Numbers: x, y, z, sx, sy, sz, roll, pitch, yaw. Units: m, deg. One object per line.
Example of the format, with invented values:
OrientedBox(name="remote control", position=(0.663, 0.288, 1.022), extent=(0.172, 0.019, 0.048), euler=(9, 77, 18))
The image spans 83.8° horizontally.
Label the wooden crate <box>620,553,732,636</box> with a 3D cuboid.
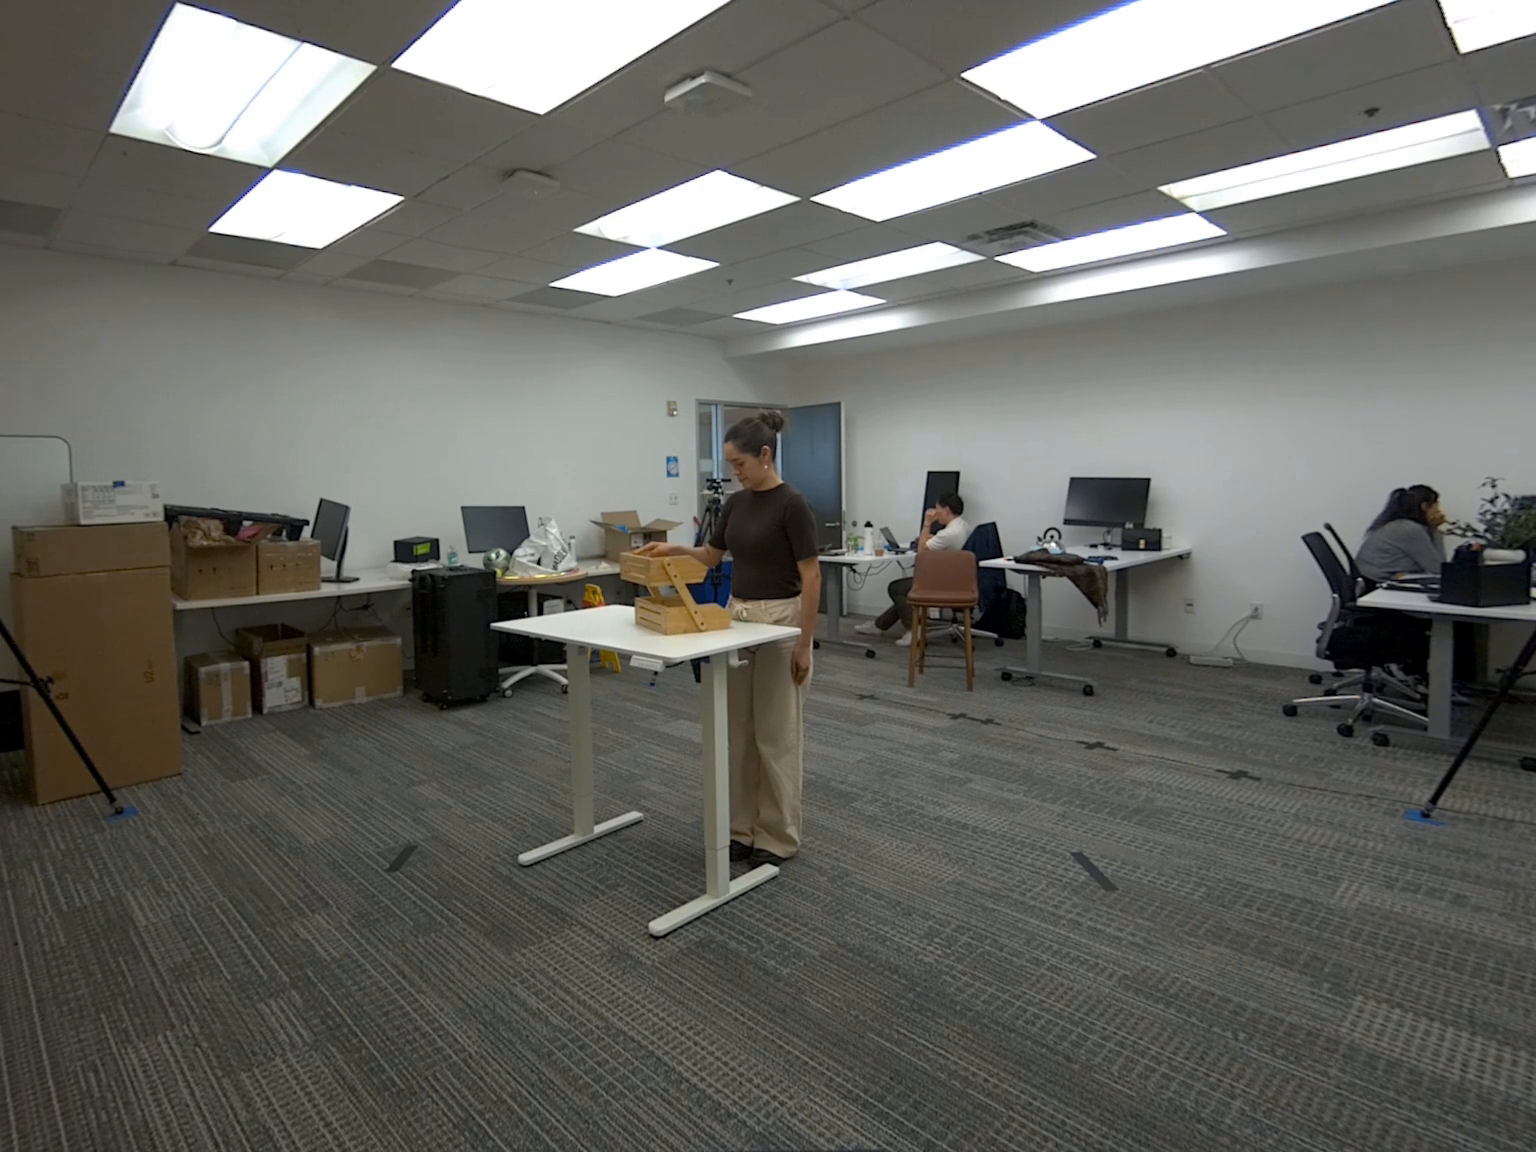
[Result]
OrientedBox(name="wooden crate", position=(-0.321, 0.044, 2.995), extent=(0.295, 0.272, 0.333), euler=(-5, 7, -28))
